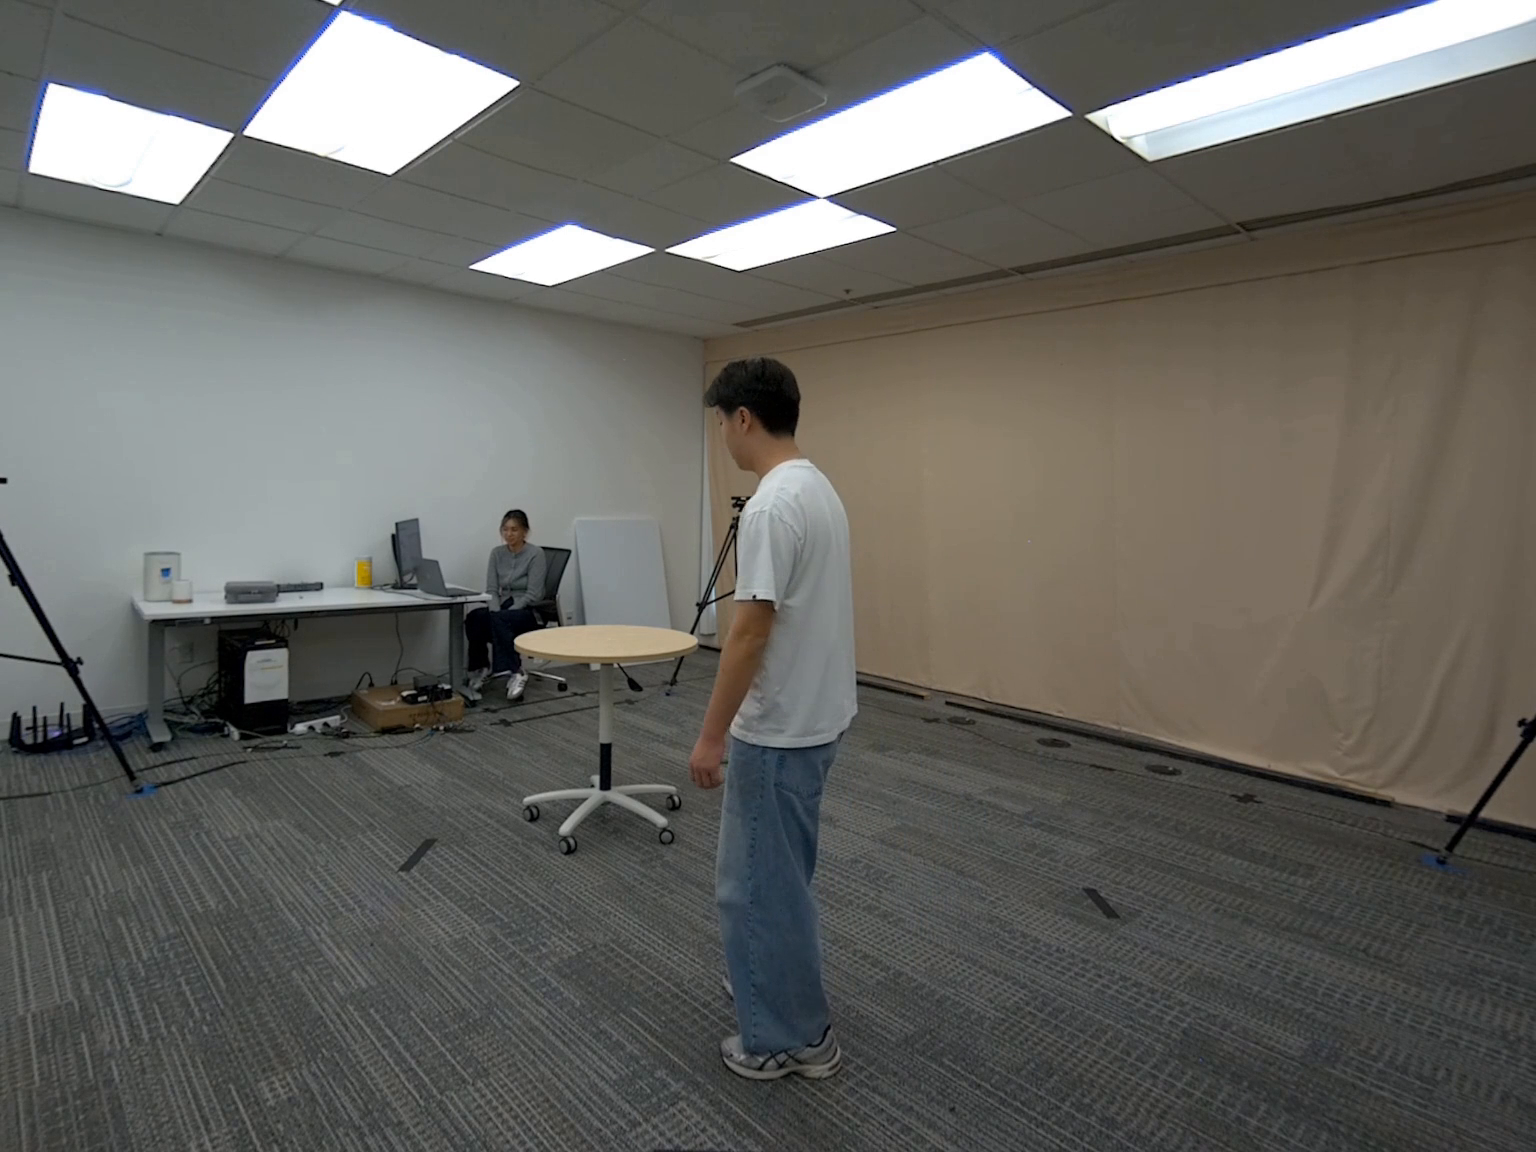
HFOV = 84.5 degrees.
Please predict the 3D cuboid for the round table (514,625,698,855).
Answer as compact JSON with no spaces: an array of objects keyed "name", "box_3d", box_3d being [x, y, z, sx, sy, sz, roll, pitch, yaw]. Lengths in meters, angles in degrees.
[{"name":"round table","box_3d":[-0.695,0.663,3.569,0.763,0.792,0.766,1,4,-1]}]
